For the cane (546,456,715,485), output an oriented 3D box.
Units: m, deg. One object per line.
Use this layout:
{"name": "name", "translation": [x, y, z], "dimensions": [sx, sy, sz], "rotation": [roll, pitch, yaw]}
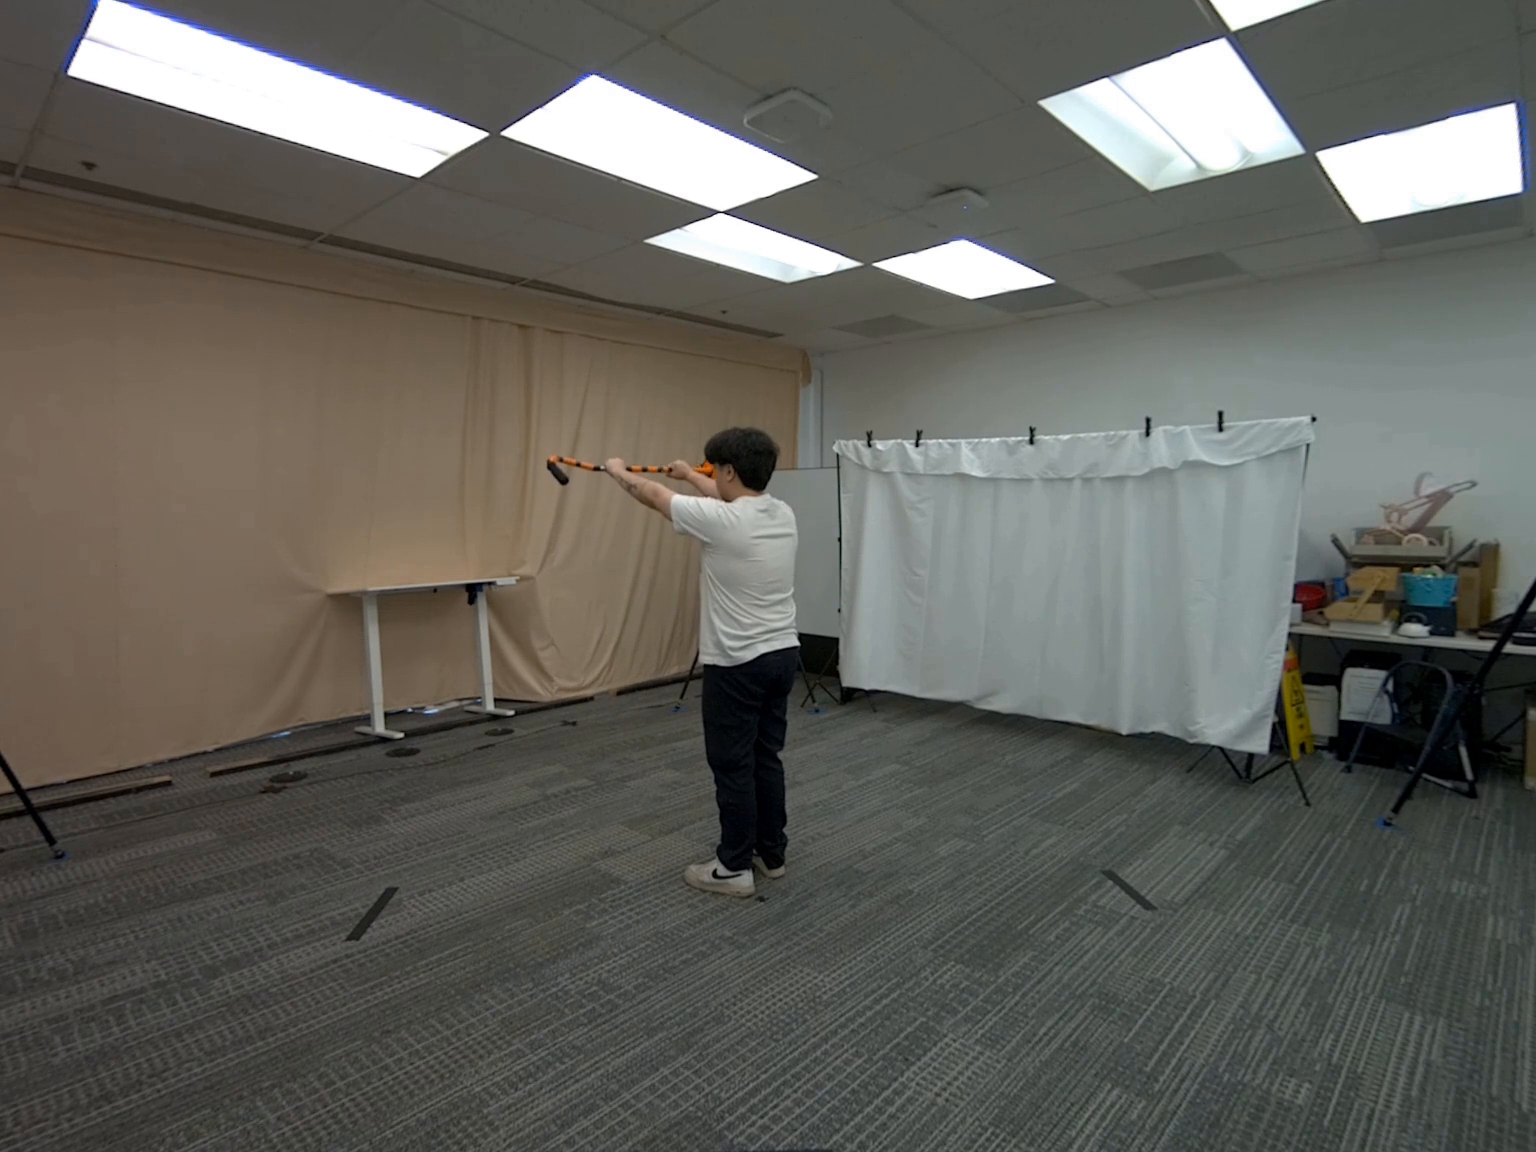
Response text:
{"name": "cane", "translation": [-0.502, -0.442, 3.395], "dimensions": [0.881, 0.151, 0.213], "rotation": [-7, 45, -47]}
